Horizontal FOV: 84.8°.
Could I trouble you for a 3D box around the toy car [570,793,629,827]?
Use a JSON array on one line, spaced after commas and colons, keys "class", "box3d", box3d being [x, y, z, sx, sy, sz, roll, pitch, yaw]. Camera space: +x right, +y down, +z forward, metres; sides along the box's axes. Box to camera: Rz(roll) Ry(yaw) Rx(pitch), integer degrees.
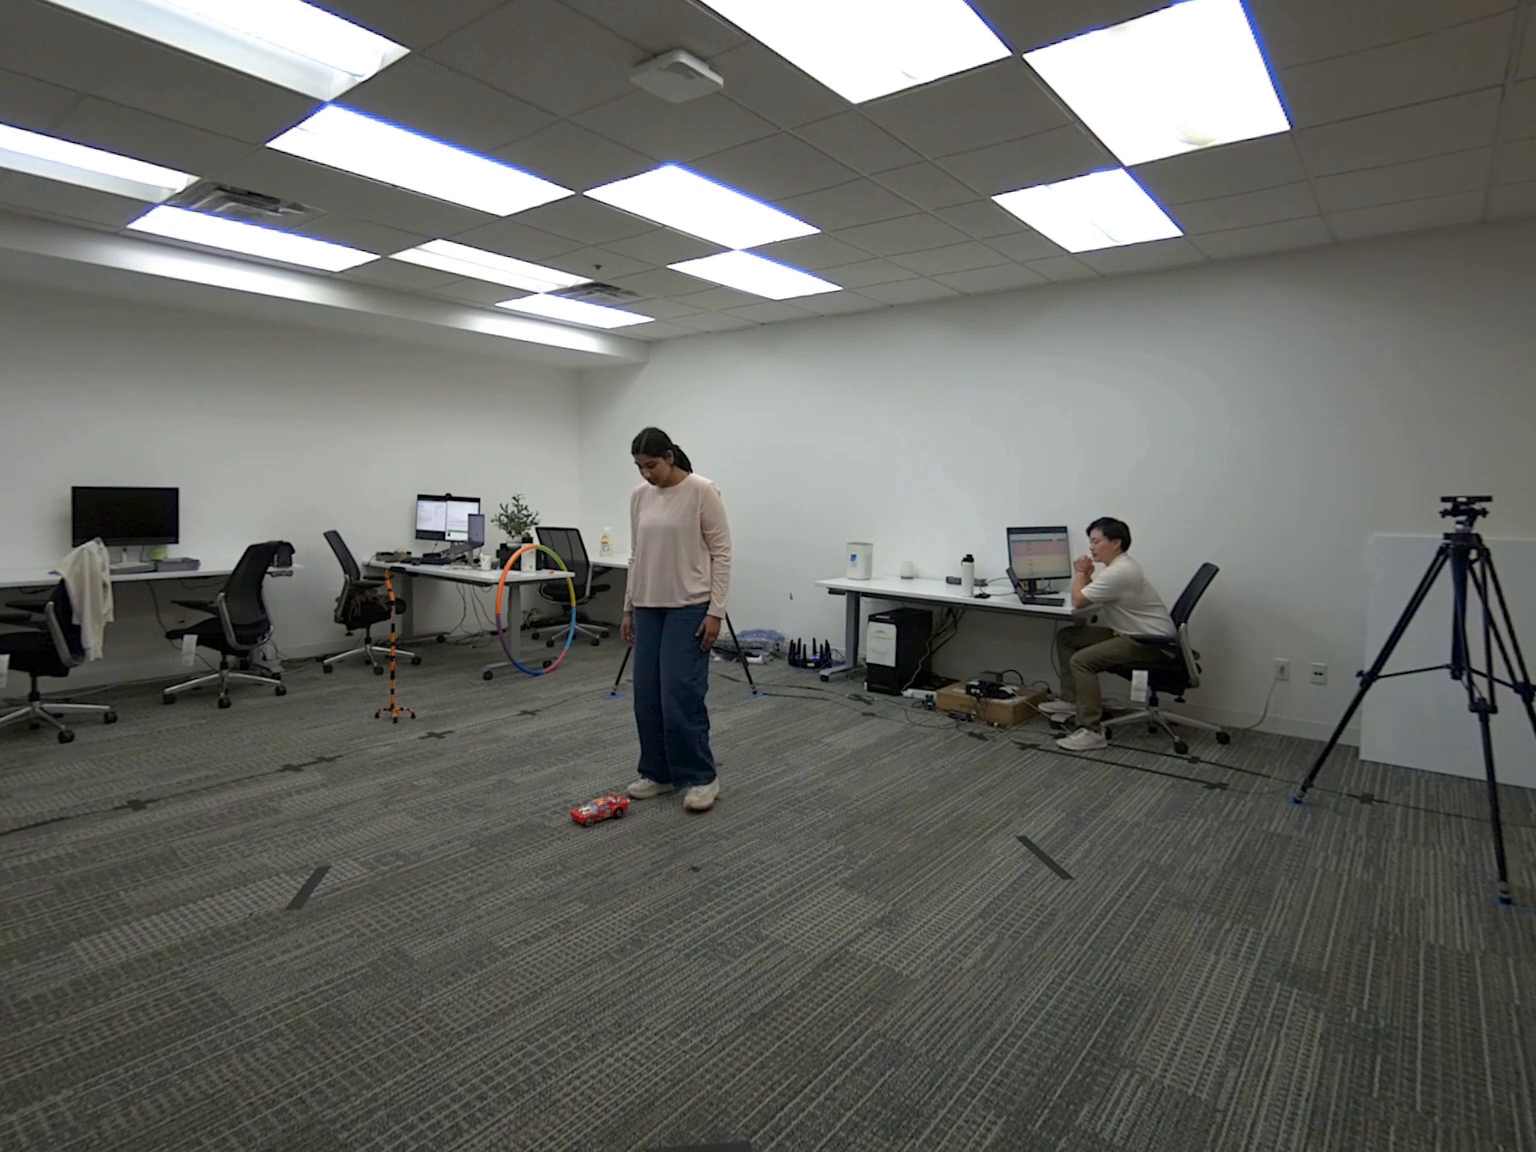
[{"class": "toy car", "box3d": [-0.713, 0.983, 3.577, 0.249, 0.082, 0.134, -18, 15, -40]}]
